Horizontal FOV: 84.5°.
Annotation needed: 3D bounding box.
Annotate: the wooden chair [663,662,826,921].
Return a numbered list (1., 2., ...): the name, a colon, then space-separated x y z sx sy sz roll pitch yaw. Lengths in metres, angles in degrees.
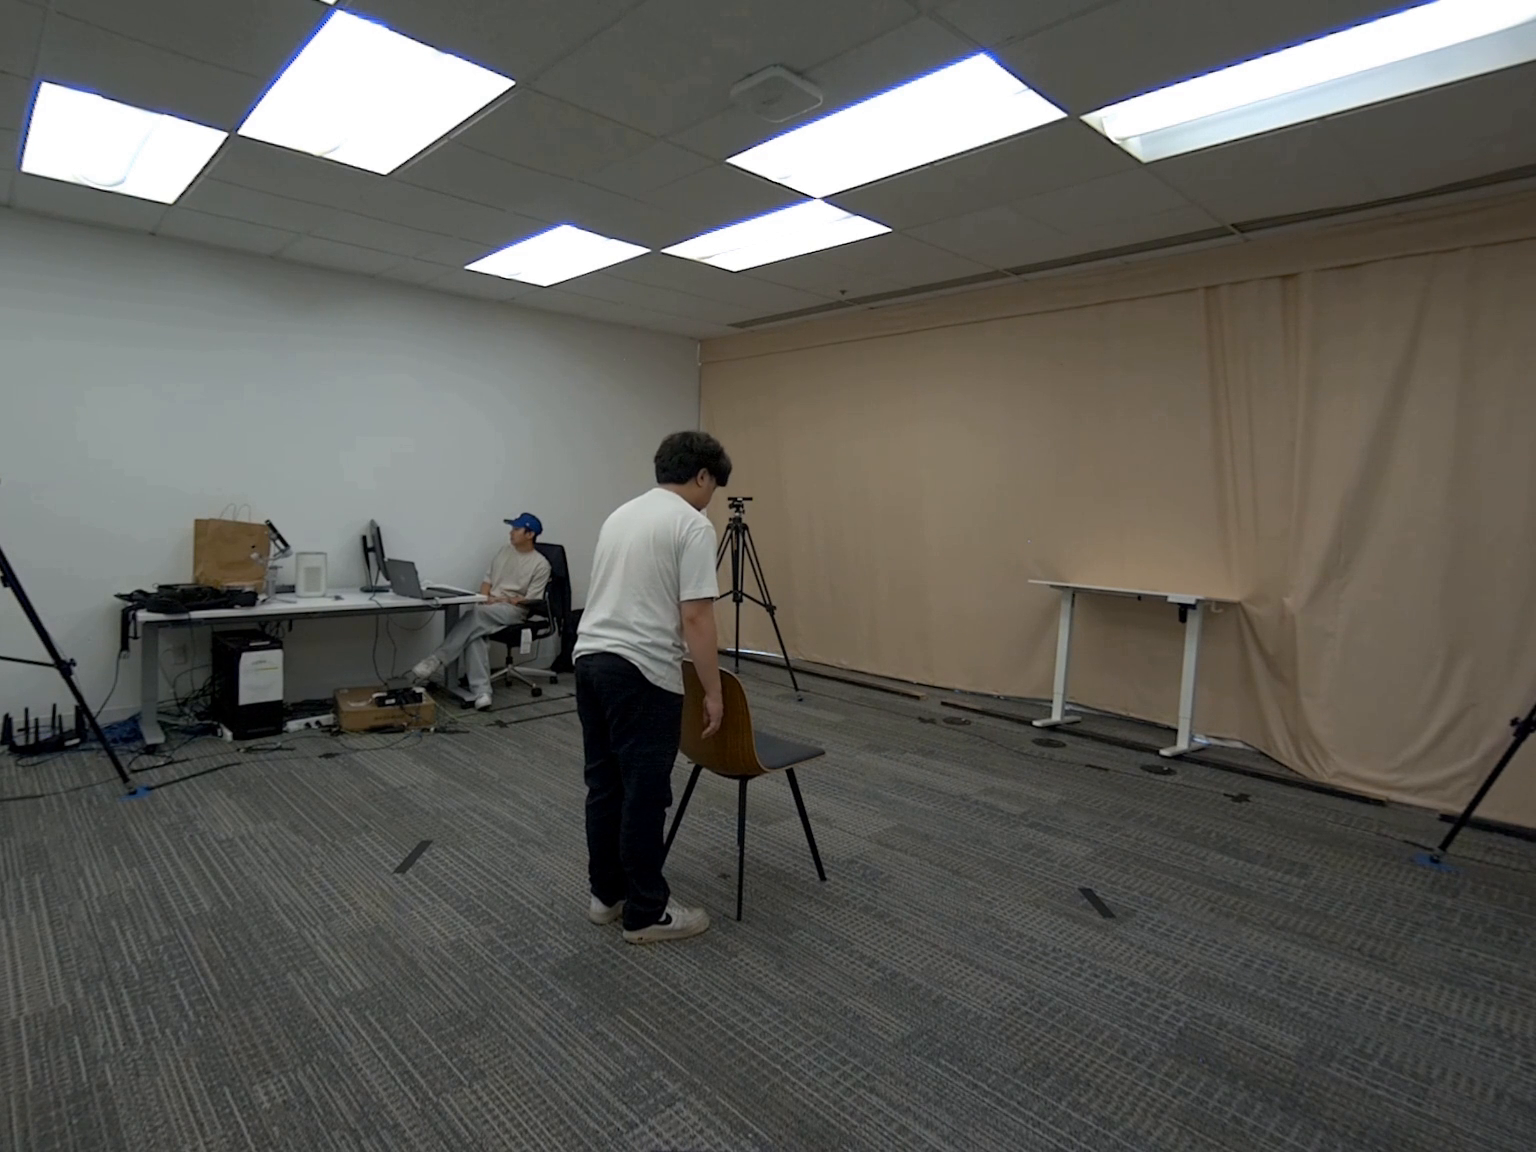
1. wooden chair: -0.092 0.686 3.065 0.490 0.873 0.512 4 8 44
